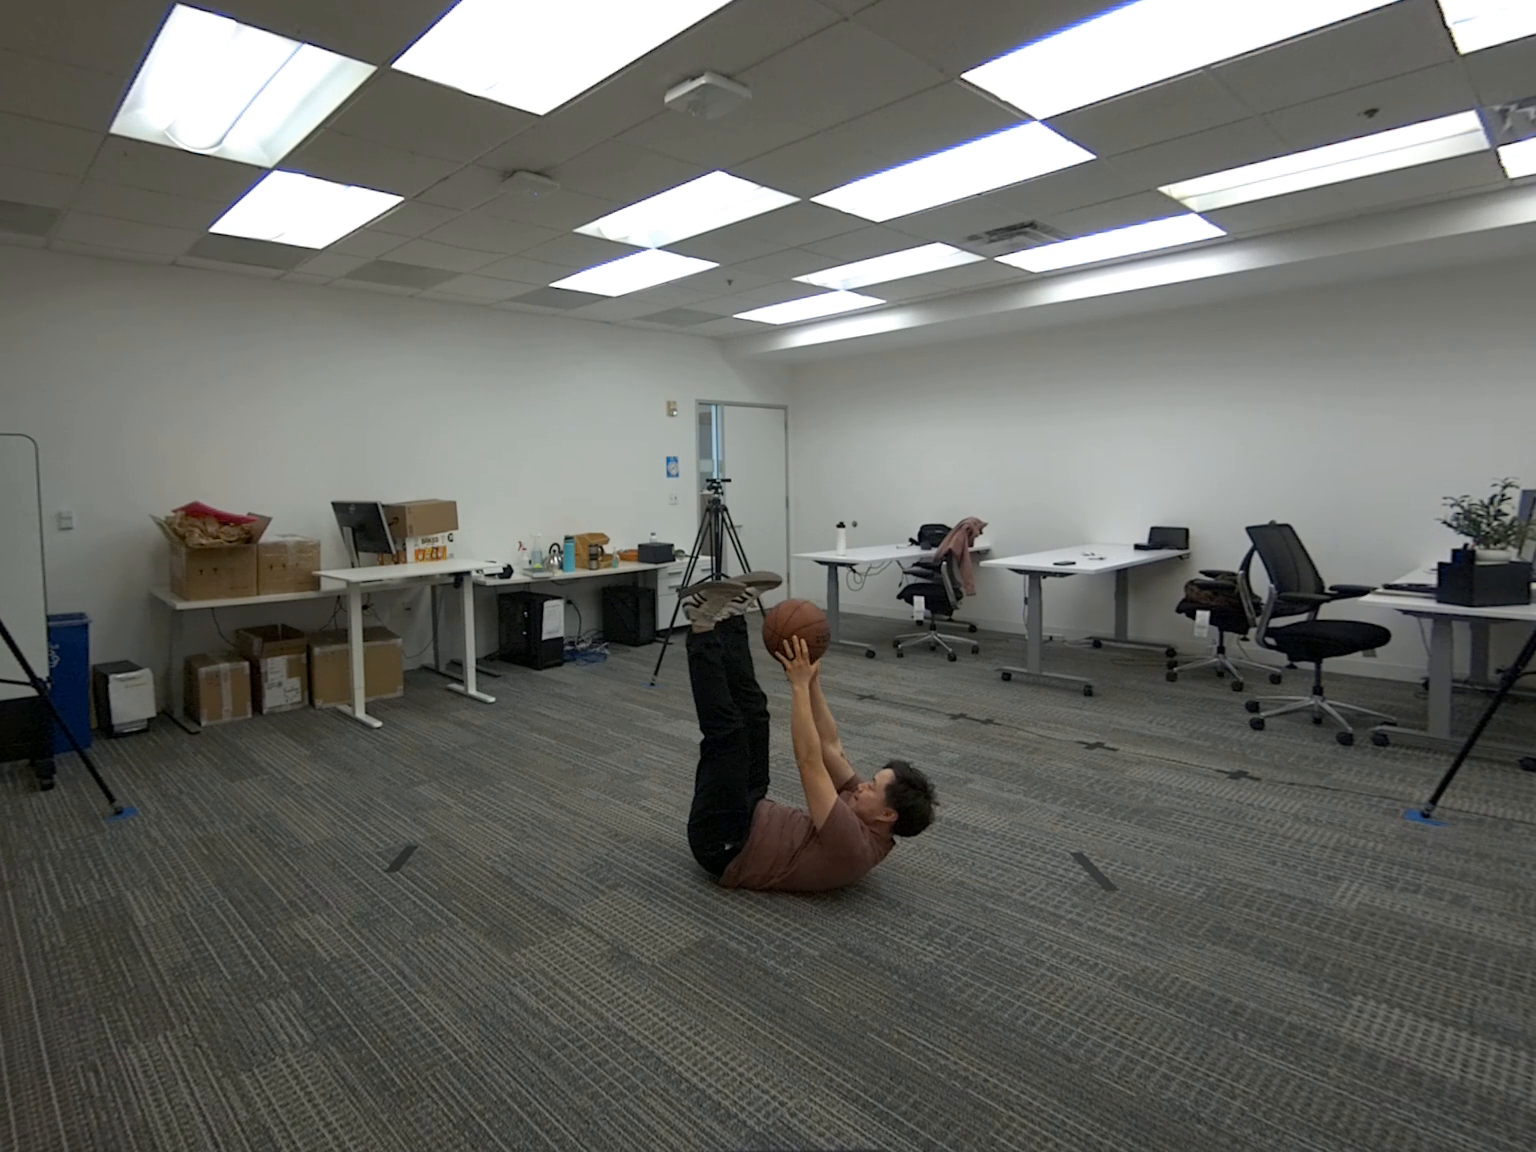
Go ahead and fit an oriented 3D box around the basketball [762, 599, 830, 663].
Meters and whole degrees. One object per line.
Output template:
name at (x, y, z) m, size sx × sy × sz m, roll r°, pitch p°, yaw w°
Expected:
basketball at (0.110, 0.195, 2.958) m, size 0.236 × 0.236 × 0.236 m, roll 0°, pitch 1°, yaw -2°
